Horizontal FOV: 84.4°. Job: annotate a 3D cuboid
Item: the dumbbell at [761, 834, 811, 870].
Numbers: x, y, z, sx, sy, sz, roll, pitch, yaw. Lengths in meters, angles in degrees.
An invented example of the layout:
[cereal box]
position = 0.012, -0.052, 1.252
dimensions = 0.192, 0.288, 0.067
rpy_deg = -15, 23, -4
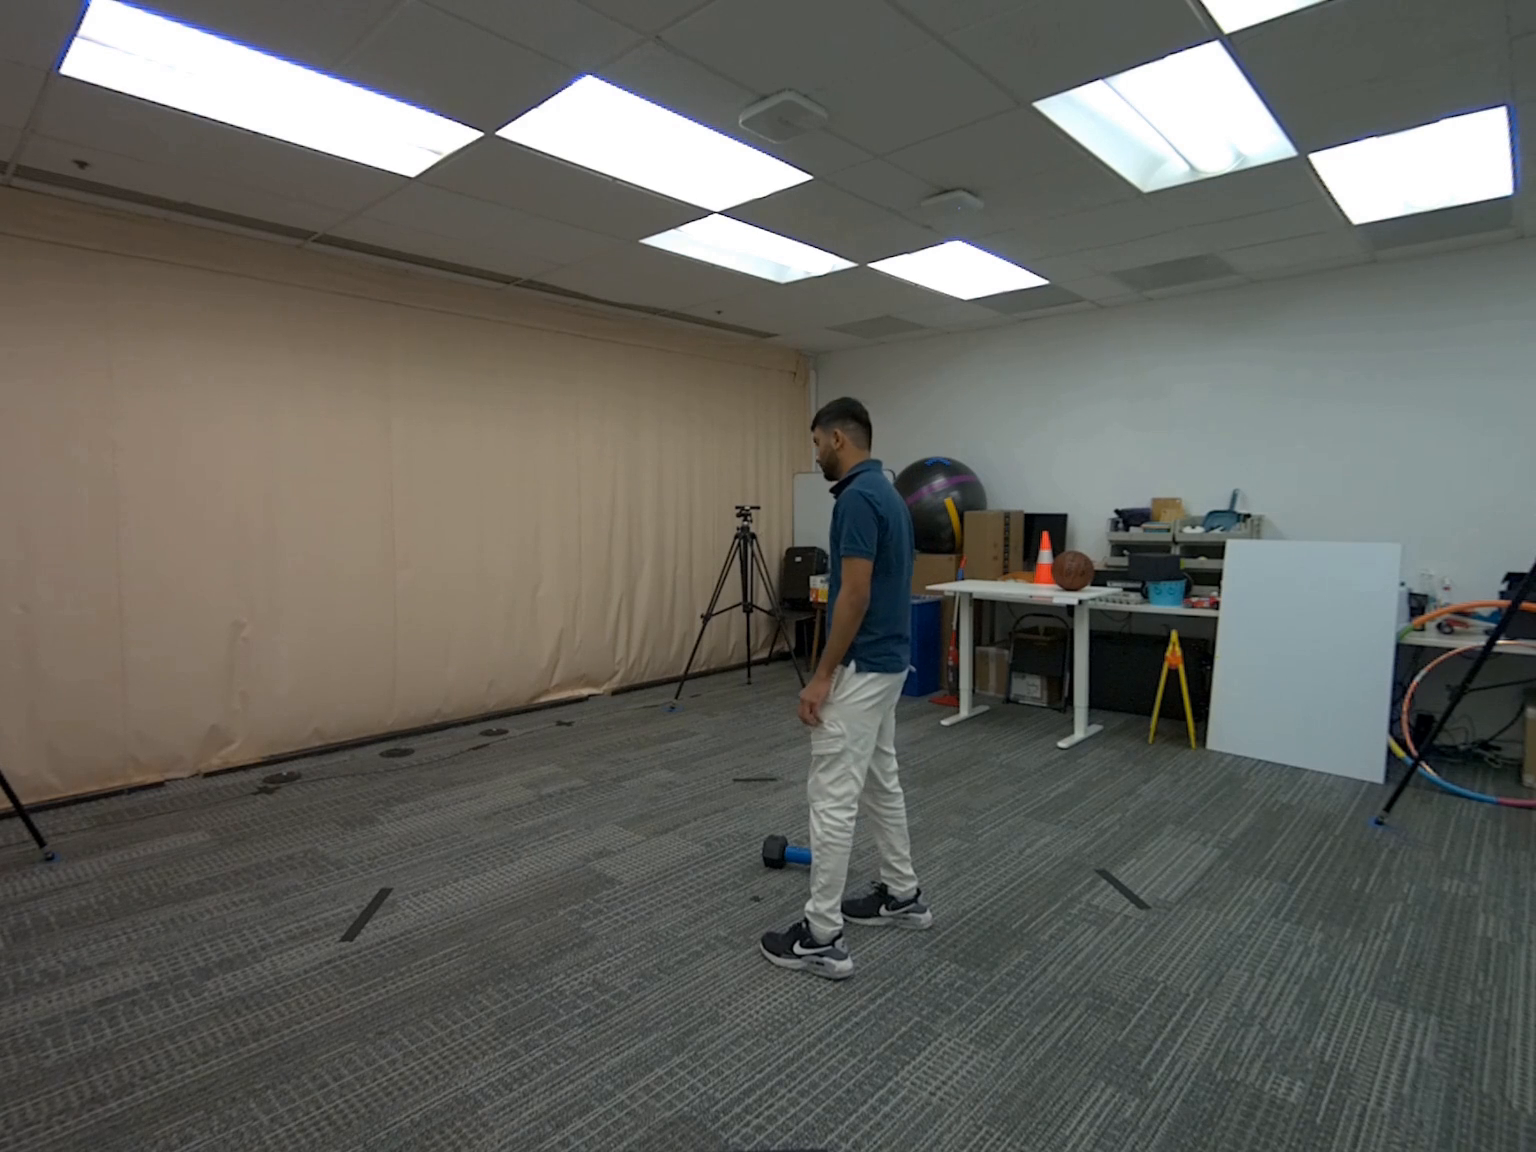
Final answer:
[dumbbell]
position = 0.134, 1.071, 3.219
dimensions = 0.300, 0.124, 0.105
rpy_deg = 2, -25, 20
